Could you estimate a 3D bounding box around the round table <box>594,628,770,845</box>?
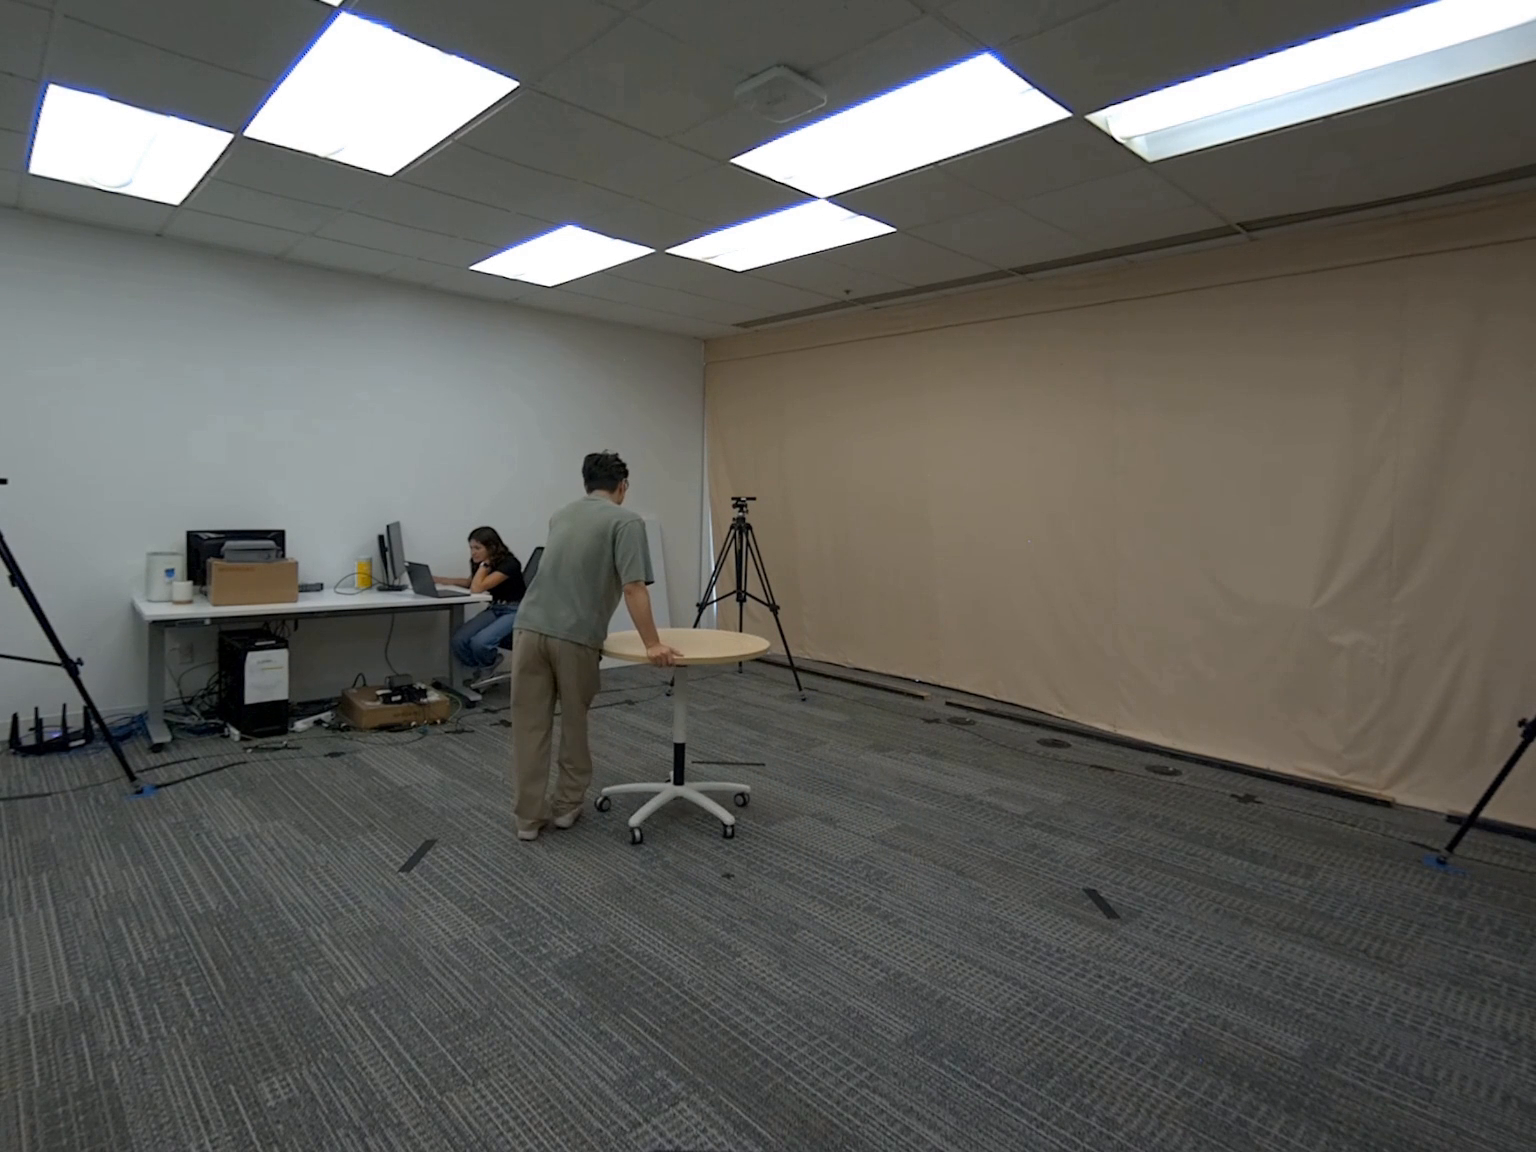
[{"bbox_3d":[-0.386,0.667,3.649,0.784,0.785,0.787,1,3,-1],"label":"round table"}]
